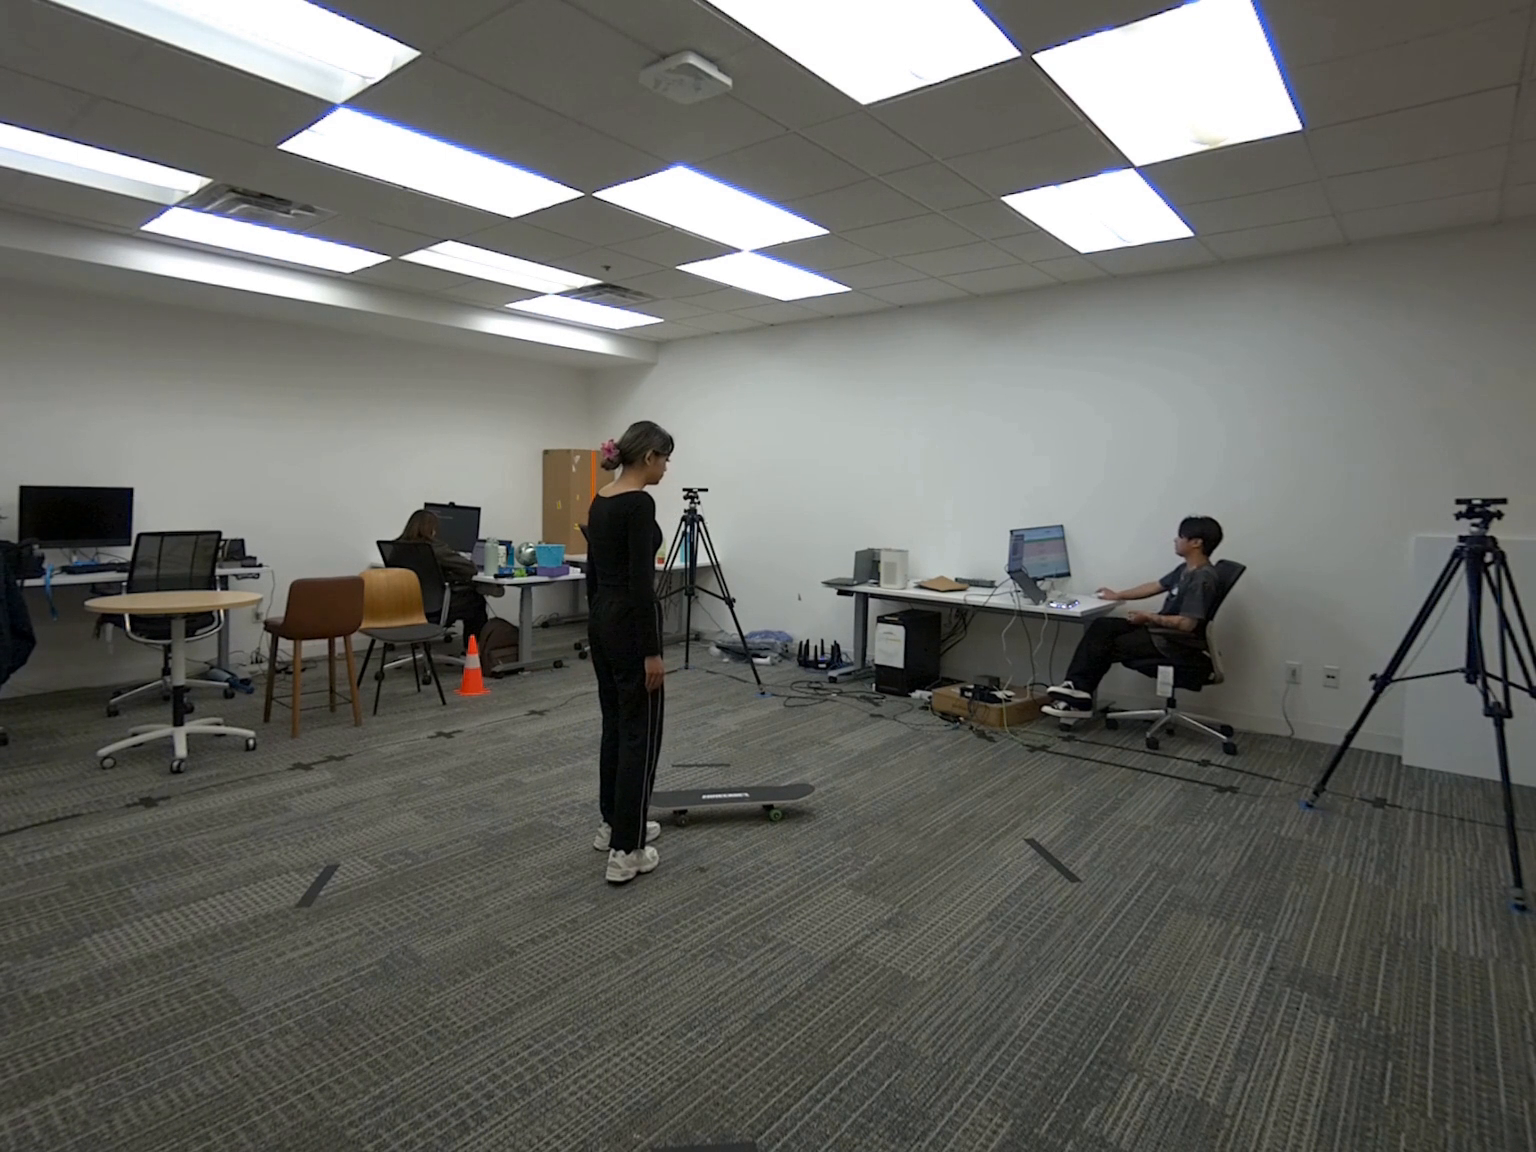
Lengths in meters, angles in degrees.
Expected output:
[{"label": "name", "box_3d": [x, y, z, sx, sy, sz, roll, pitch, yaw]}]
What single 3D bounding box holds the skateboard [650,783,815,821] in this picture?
[{"label": "skateboard", "box_3d": [-0.190, 0.966, 3.622, 0.777, 0.110, 0.196, 0, 6, -10]}]
